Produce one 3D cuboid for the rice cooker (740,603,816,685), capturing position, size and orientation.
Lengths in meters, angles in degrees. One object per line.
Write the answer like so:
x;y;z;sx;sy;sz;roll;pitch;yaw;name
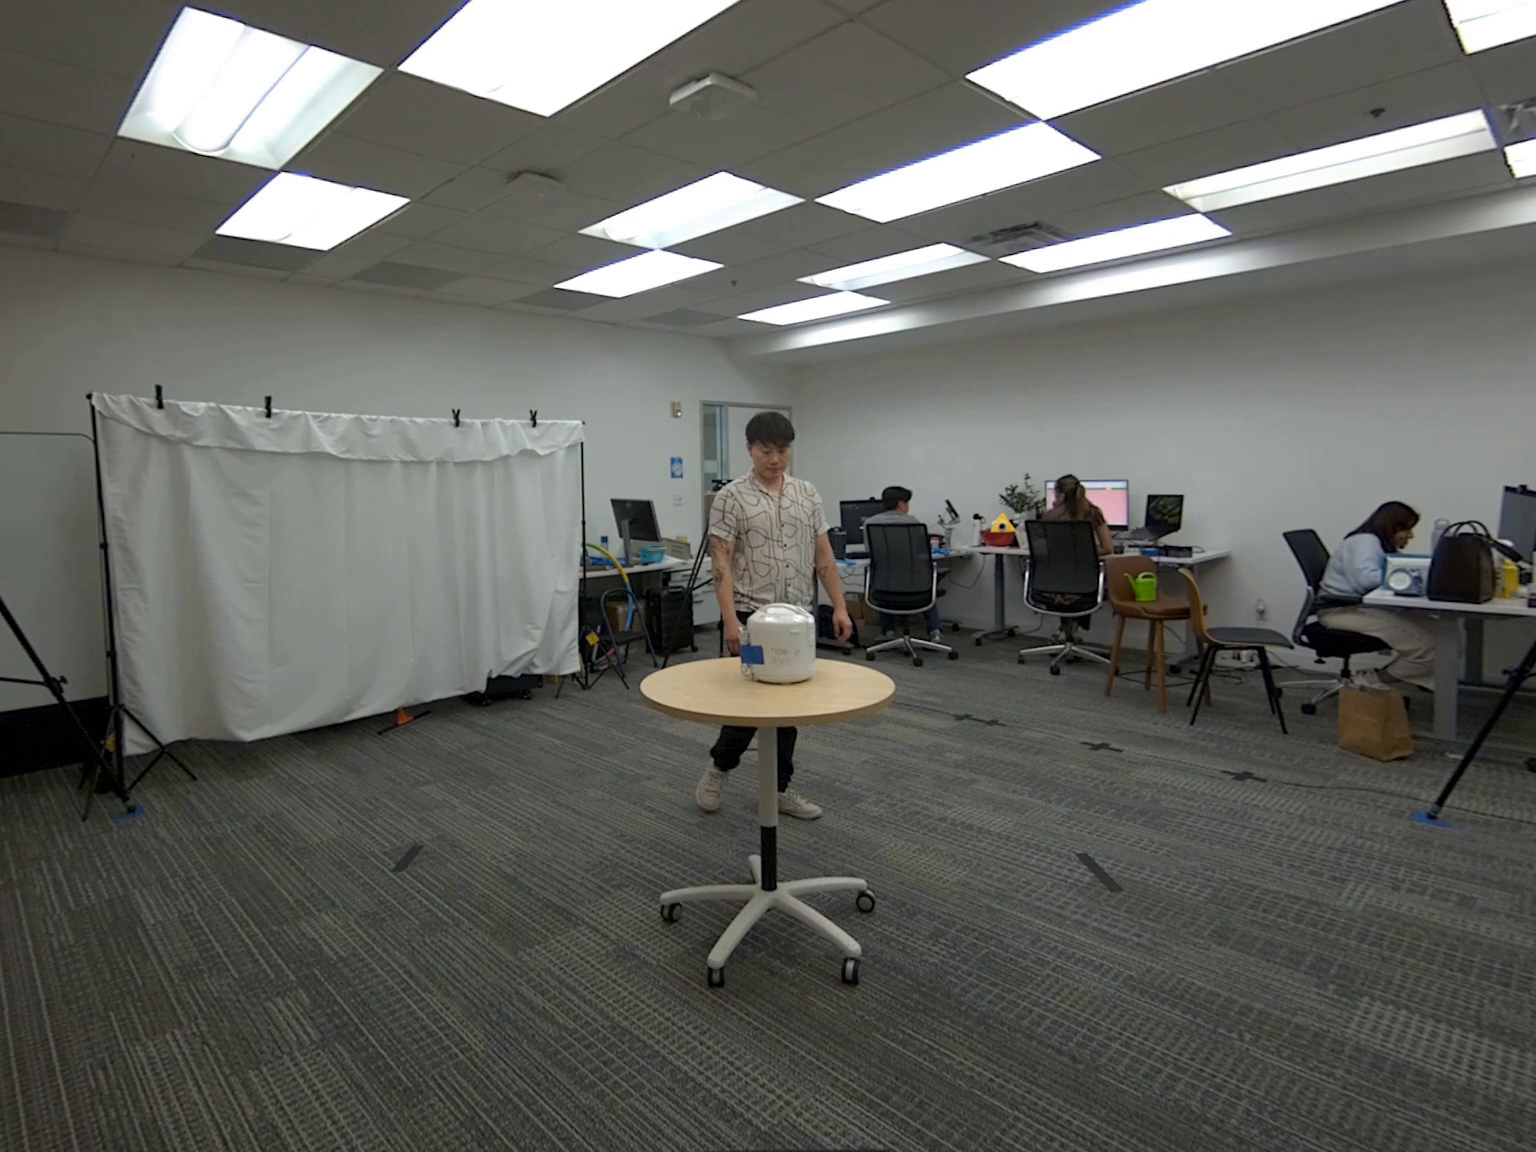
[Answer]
0.038;0.204;2.643;0.226;0.232;0.213;2;6;31;rice cooker
